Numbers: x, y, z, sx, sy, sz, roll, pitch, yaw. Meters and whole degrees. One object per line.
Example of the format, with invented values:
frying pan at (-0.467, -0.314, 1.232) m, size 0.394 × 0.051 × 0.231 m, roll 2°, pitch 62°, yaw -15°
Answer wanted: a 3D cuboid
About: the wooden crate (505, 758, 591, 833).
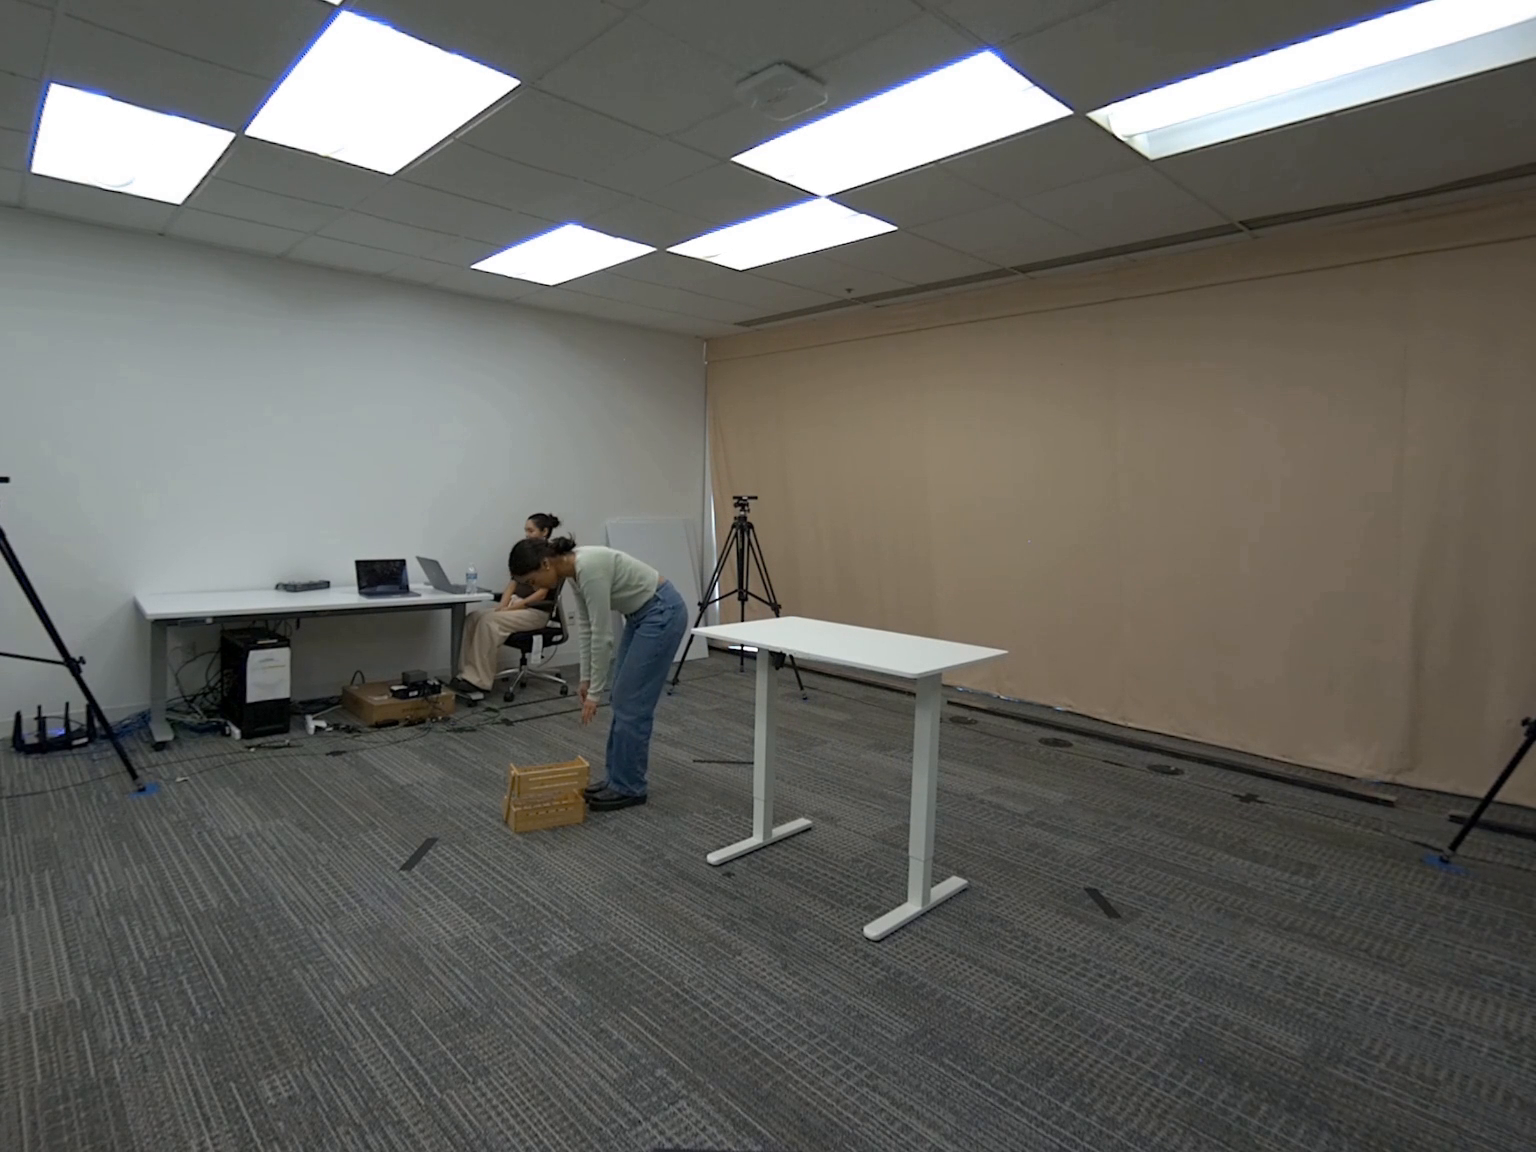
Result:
wooden crate at (-0.964, 0.907, 3.593) m, size 0.318 × 0.272 × 0.309 m, roll 0°, pitch 5°, yaw -29°
